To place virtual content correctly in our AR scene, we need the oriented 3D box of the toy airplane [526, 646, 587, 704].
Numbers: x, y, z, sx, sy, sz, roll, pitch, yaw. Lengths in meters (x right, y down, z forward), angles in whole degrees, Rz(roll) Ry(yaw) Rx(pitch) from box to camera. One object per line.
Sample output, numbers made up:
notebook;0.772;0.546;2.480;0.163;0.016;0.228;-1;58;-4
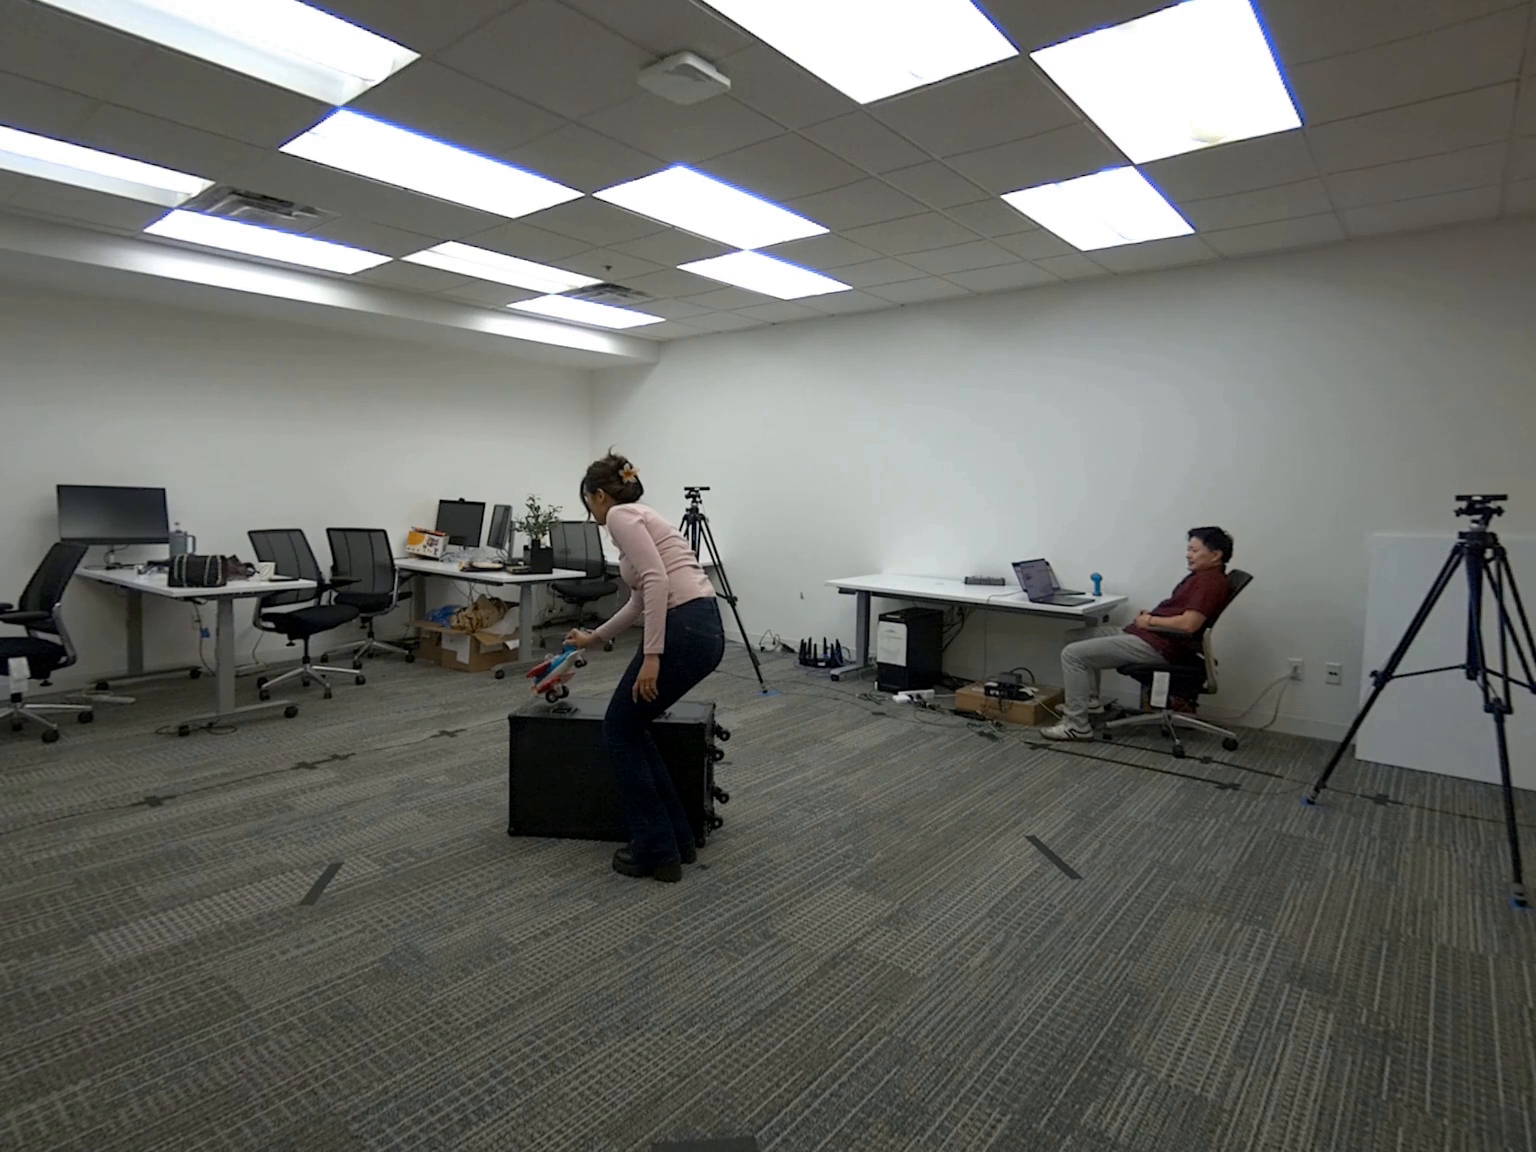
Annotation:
toy airplane;-0.883;0.393;3.569;0.159;0.259;0.246;38;-13;11
